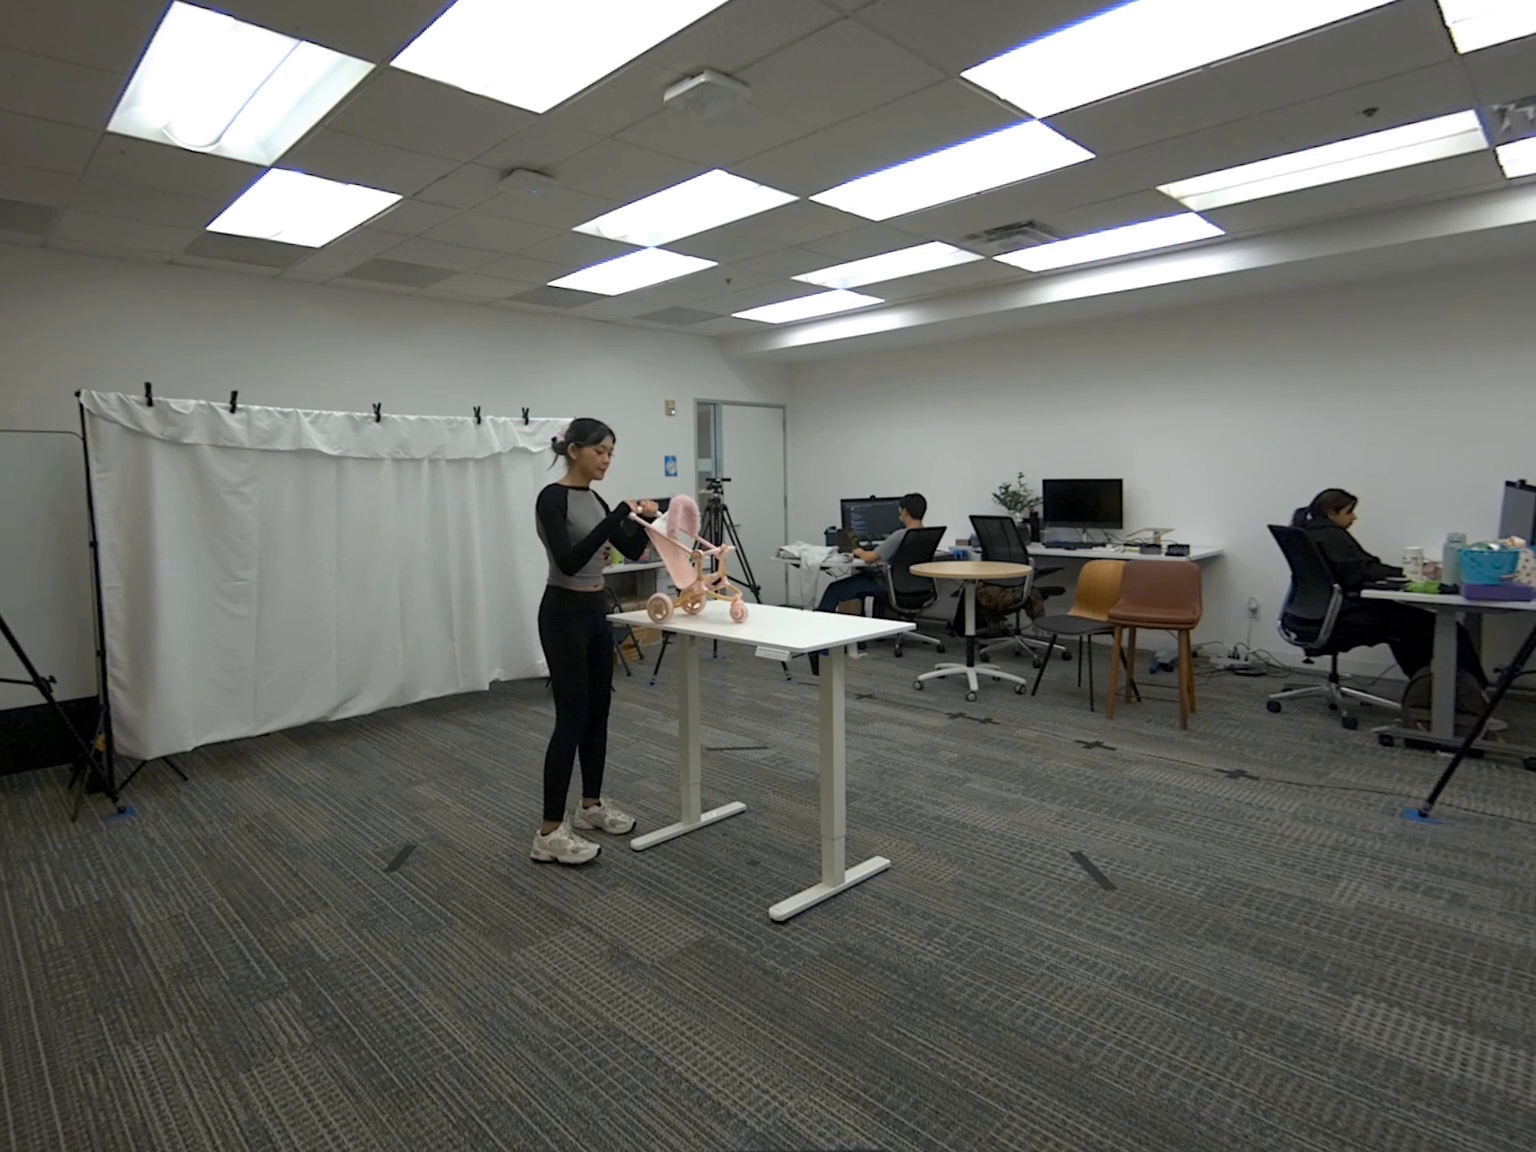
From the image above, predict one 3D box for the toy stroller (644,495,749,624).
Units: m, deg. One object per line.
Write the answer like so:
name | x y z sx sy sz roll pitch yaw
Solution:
toy stroller | -0.289 -0.060 3.113 0.347 0.538 0.275 -18 -5 29
